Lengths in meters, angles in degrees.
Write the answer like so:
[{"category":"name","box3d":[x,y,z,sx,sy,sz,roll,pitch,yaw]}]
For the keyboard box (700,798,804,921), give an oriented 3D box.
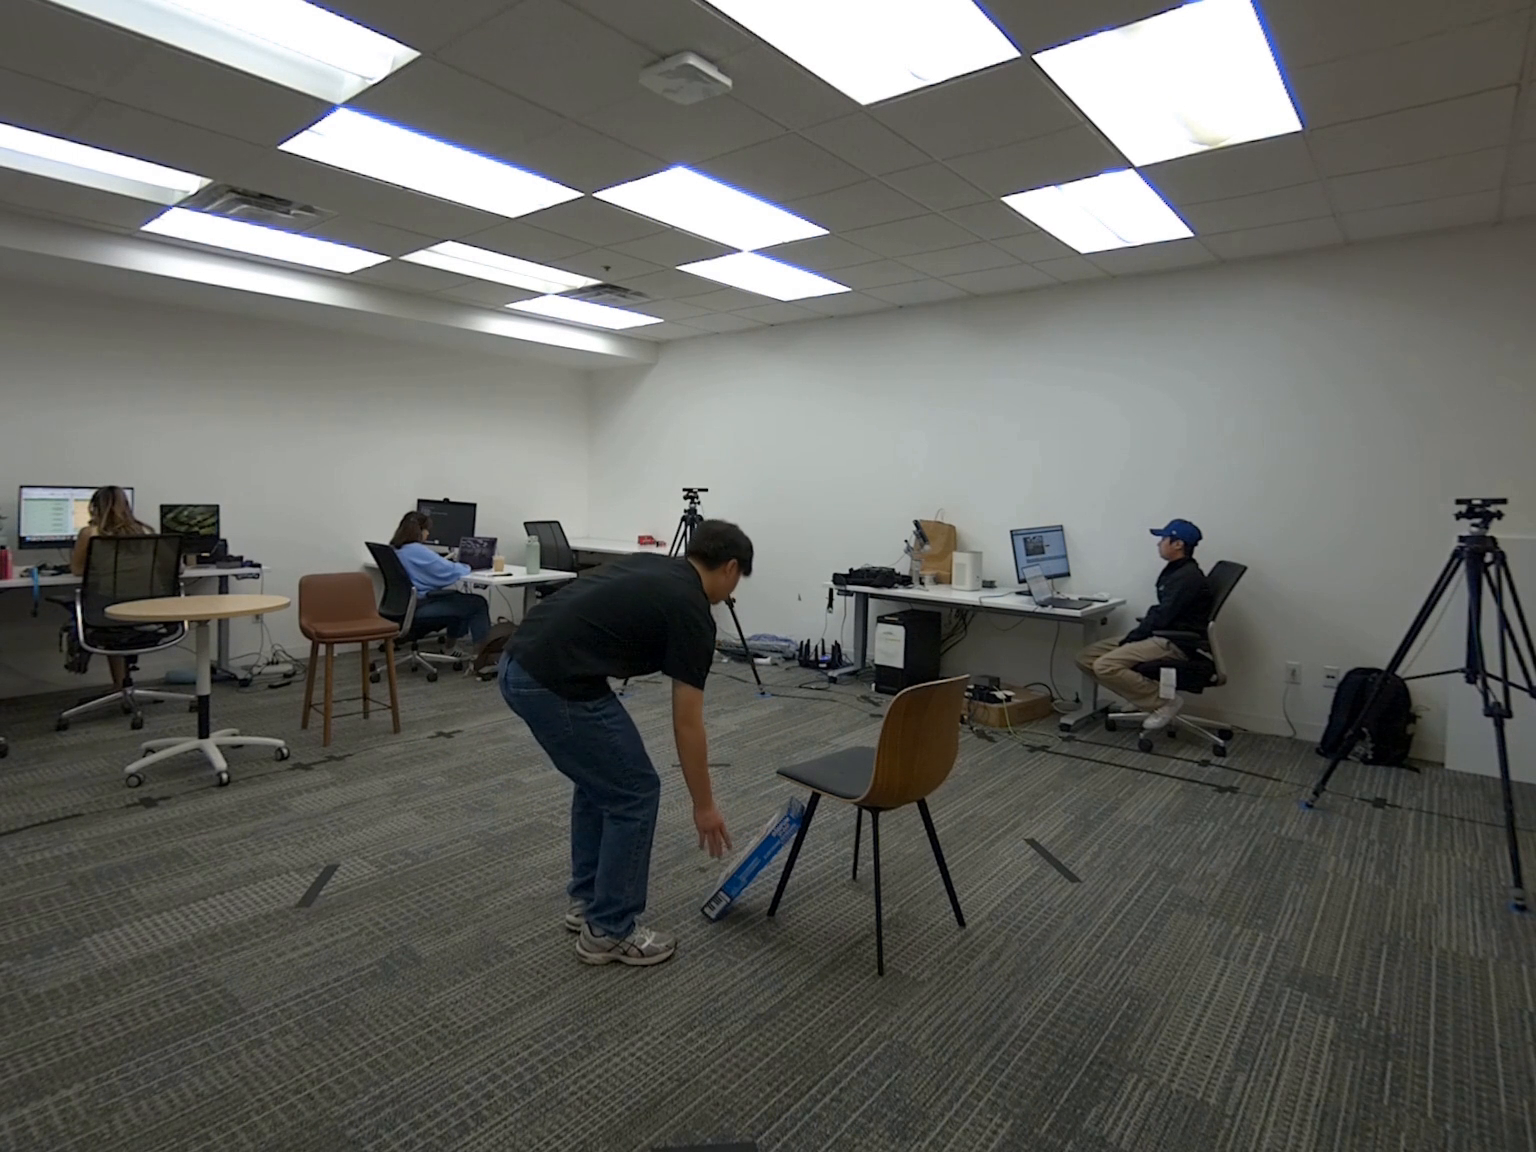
[{"category":"keyboard box","box3d":[-0.057,0.928,2.772,0.059,0.436,0.174,41,9,3]}]
